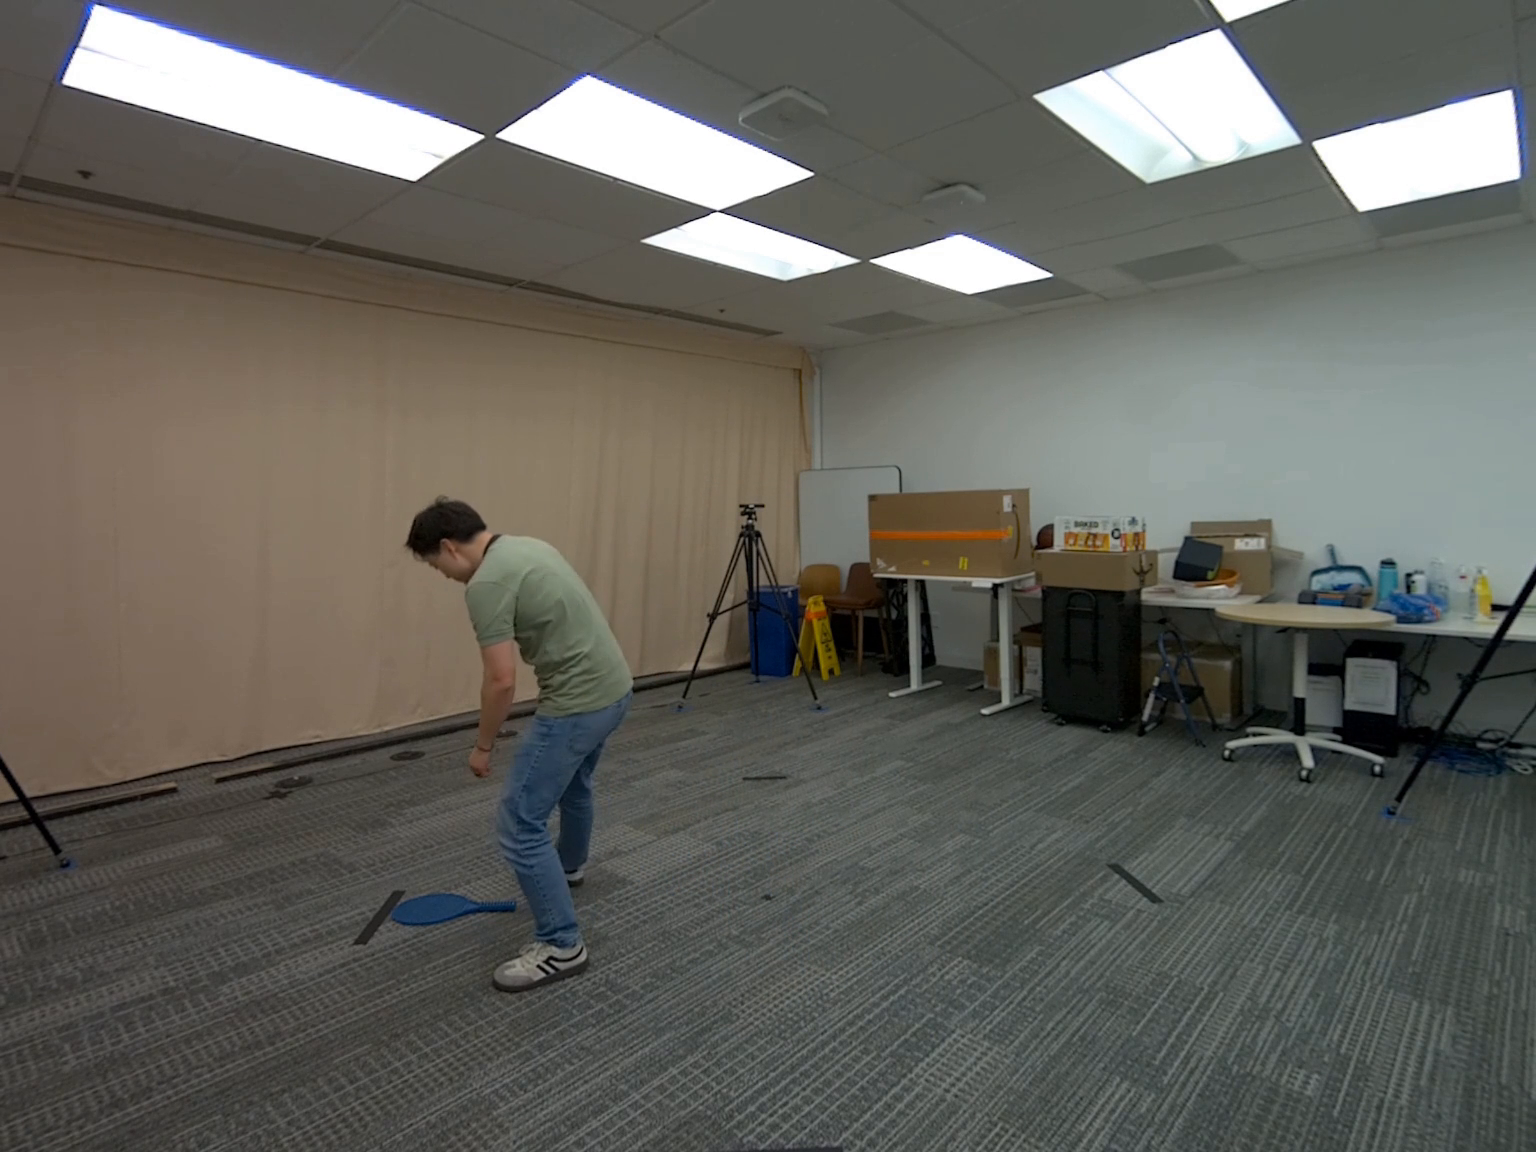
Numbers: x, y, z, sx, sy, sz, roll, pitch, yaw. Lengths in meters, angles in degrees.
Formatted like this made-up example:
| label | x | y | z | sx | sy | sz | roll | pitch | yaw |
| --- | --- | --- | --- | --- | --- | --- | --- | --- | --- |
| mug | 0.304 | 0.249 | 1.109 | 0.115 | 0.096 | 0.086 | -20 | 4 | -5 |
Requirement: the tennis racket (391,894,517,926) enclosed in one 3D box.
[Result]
| label | x | y | z | sx | sy | sz | roll | pitch | yaw |
| --- | --- | --- | --- | --- | --- | --- | --- | --- | --- |
| tennis racket | -1.090 | 1.157 | 2.933 | 0.434 | 0.031 | 0.214 | -3 | 5 | 2 |
